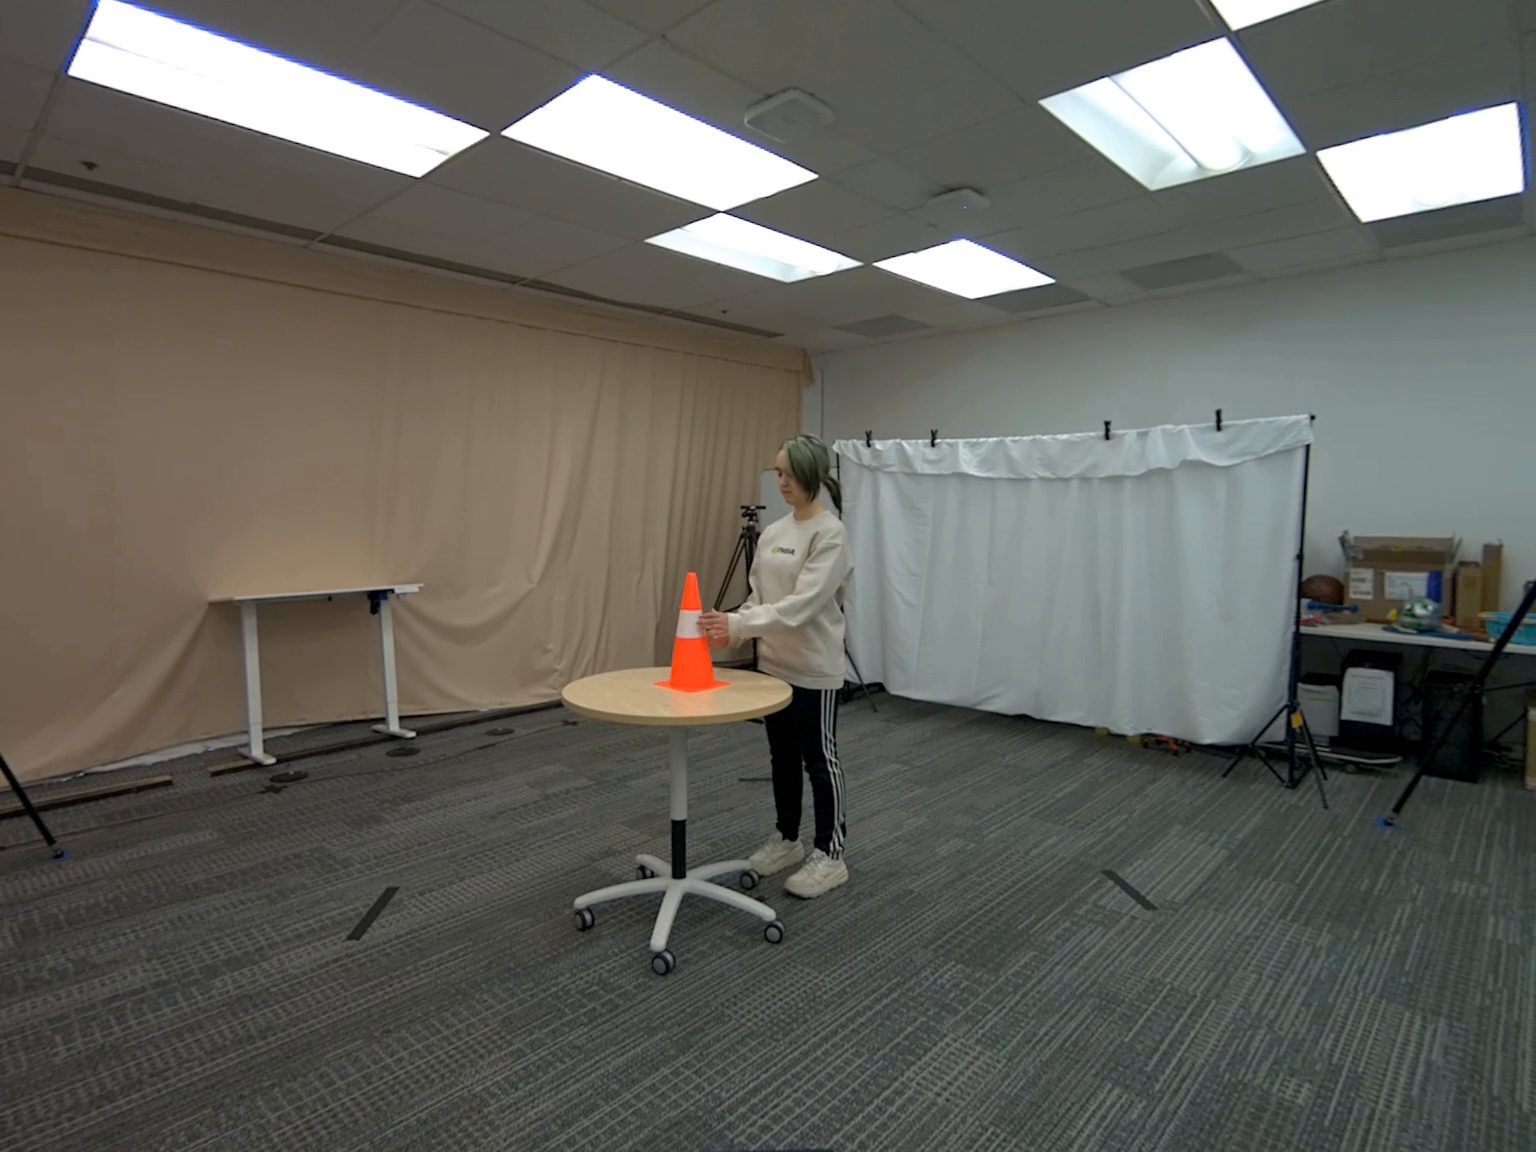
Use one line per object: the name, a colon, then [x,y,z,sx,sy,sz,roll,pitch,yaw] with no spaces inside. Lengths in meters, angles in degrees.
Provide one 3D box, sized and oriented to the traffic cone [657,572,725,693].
traffic cone: [-0.260,0.186,2.872,0.212,0.383,0.197,1,2,42]
